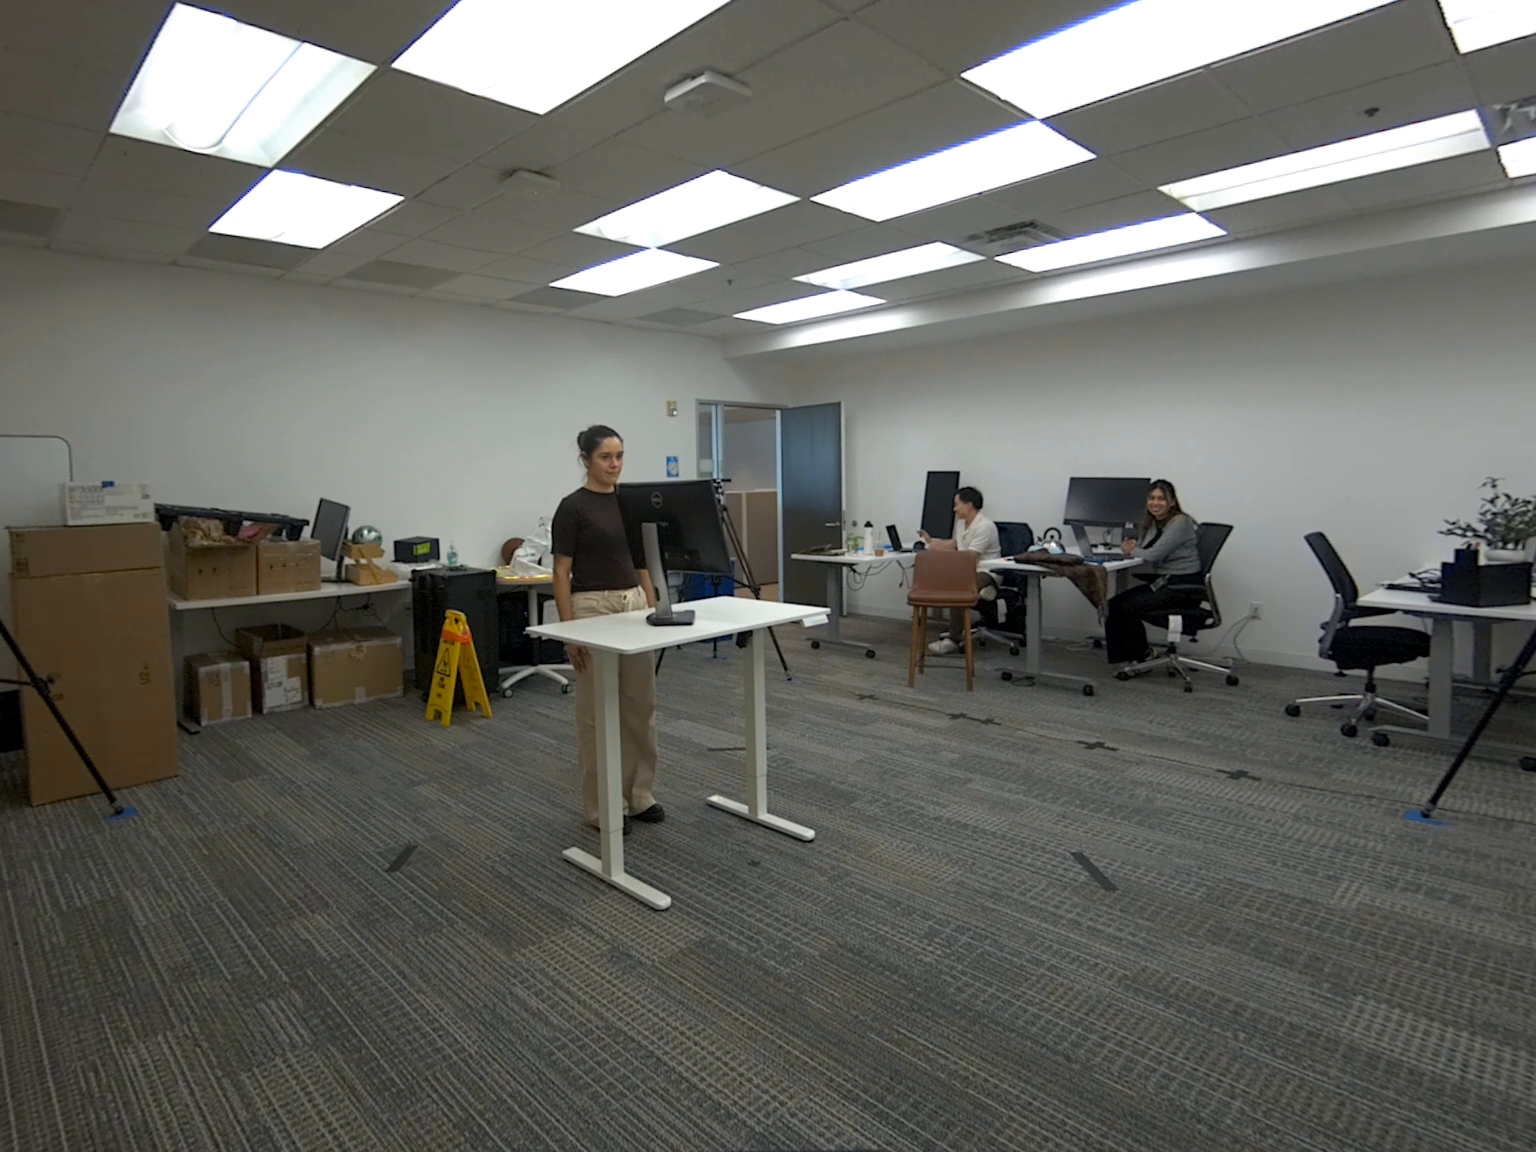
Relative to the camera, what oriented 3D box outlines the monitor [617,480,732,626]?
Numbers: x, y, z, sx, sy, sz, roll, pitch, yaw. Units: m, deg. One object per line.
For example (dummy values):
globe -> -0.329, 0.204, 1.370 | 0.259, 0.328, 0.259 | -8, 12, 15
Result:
monitor -> -0.378, -0.091, 3.159 | 0.555, 0.521, 0.182 | 1, 4, 40
